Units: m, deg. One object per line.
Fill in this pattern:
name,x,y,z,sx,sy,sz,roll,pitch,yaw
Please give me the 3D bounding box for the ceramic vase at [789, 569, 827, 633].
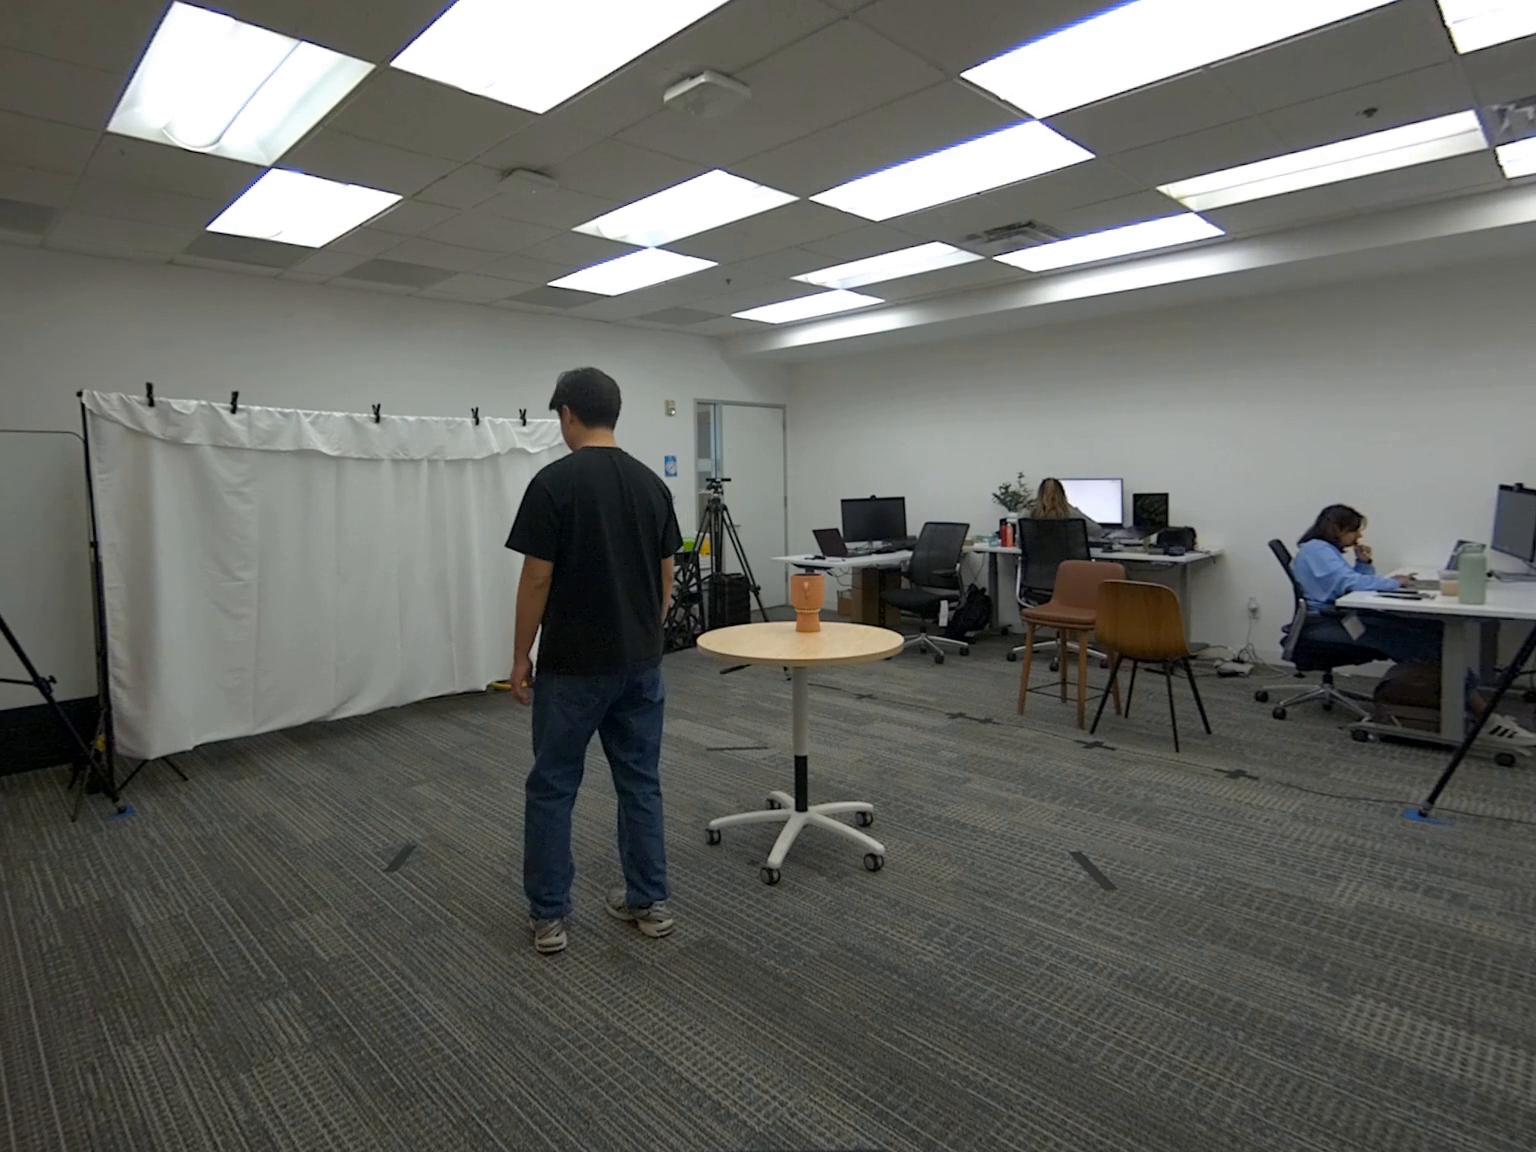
ceramic vase,0.155,0.105,3.353,0.155,0.219,0.138,-6,5,-43
